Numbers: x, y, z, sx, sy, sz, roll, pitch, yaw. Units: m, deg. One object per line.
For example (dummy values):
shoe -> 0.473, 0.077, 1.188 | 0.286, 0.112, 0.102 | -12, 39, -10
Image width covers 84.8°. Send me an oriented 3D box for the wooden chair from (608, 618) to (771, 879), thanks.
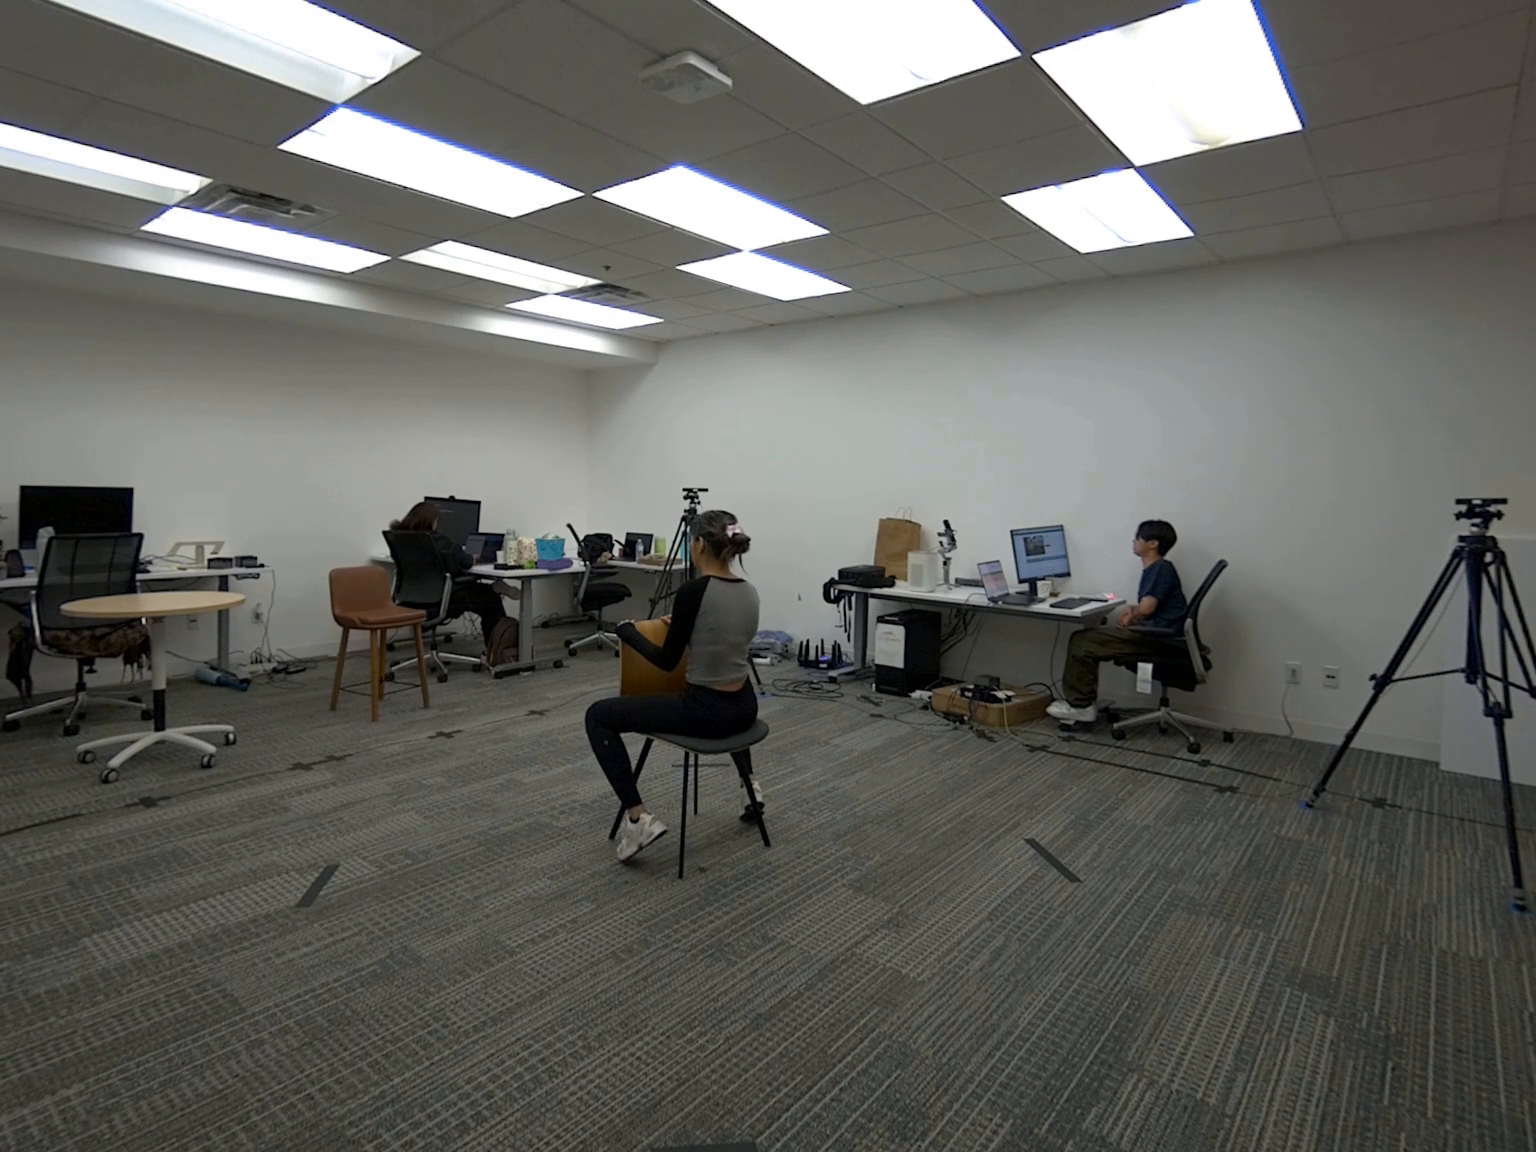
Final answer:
wooden chair -> -0.305, 0.623, 3.310 | 0.463, 0.878, 0.539 | -2, -1, -43
